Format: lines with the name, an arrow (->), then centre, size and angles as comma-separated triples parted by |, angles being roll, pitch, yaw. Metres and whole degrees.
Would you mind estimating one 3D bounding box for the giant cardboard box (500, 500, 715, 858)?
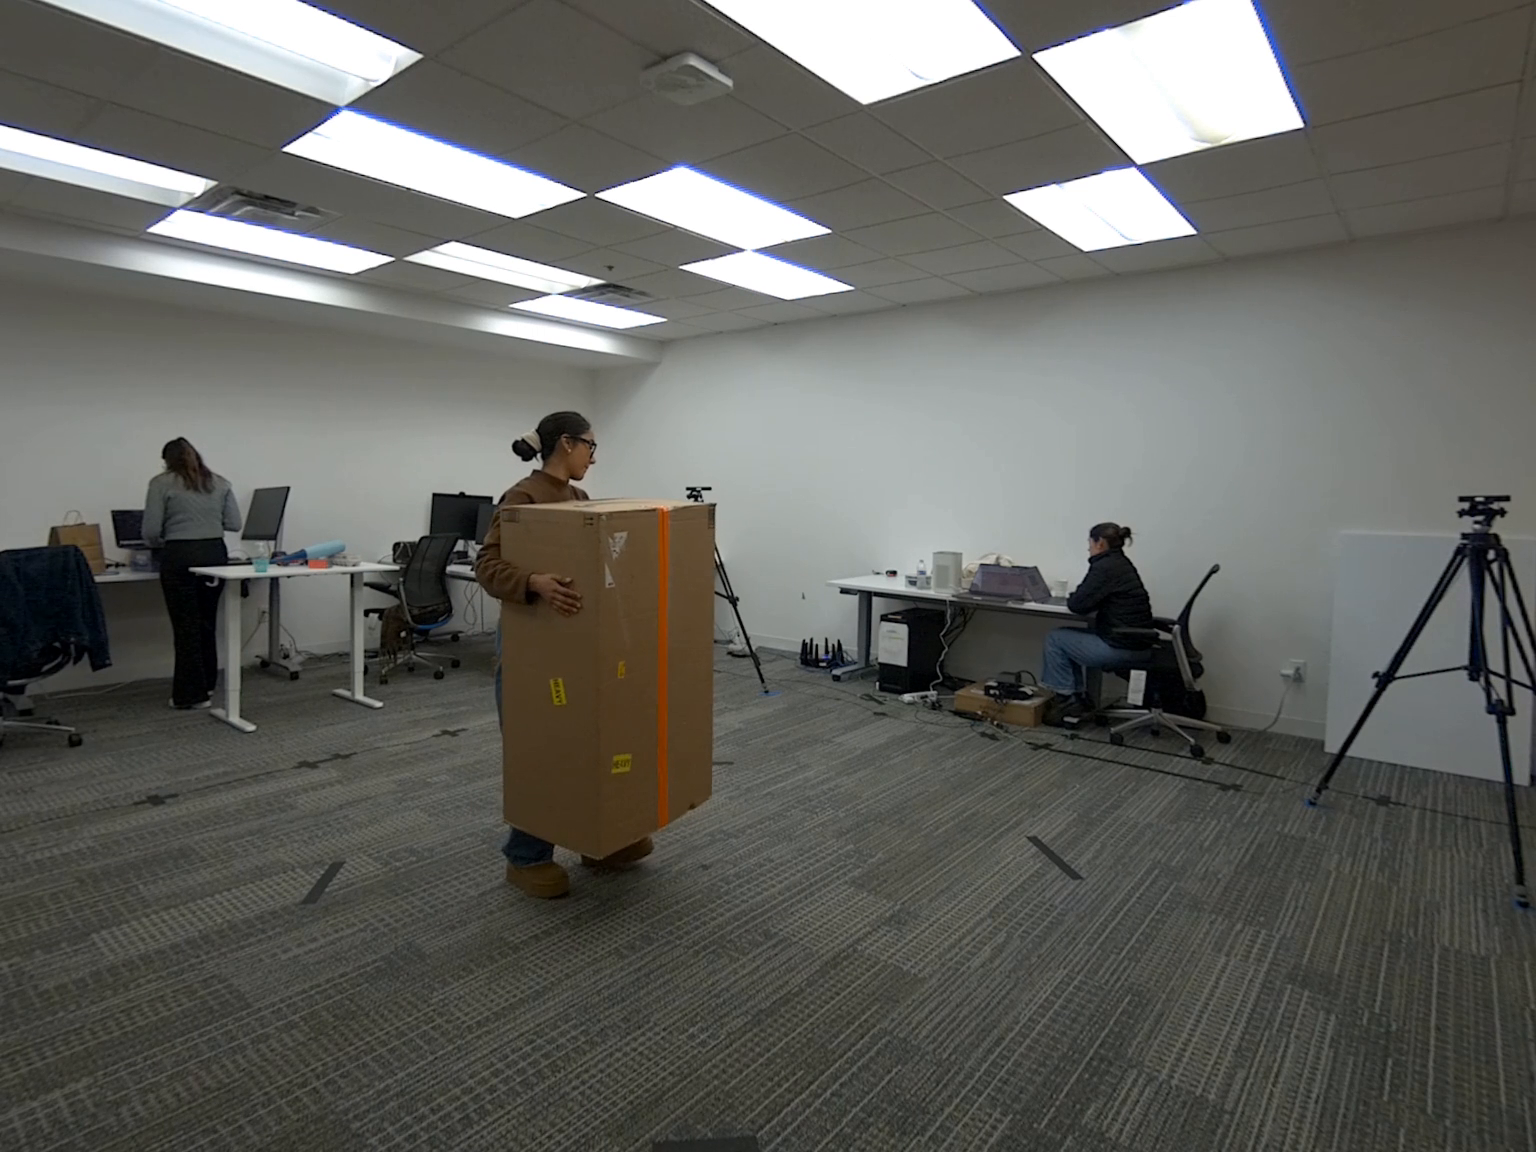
giant cardboard box -> -0.510, 0.277, 2.780 | 0.439, 1.021, 0.563 | 4, 6, 32
